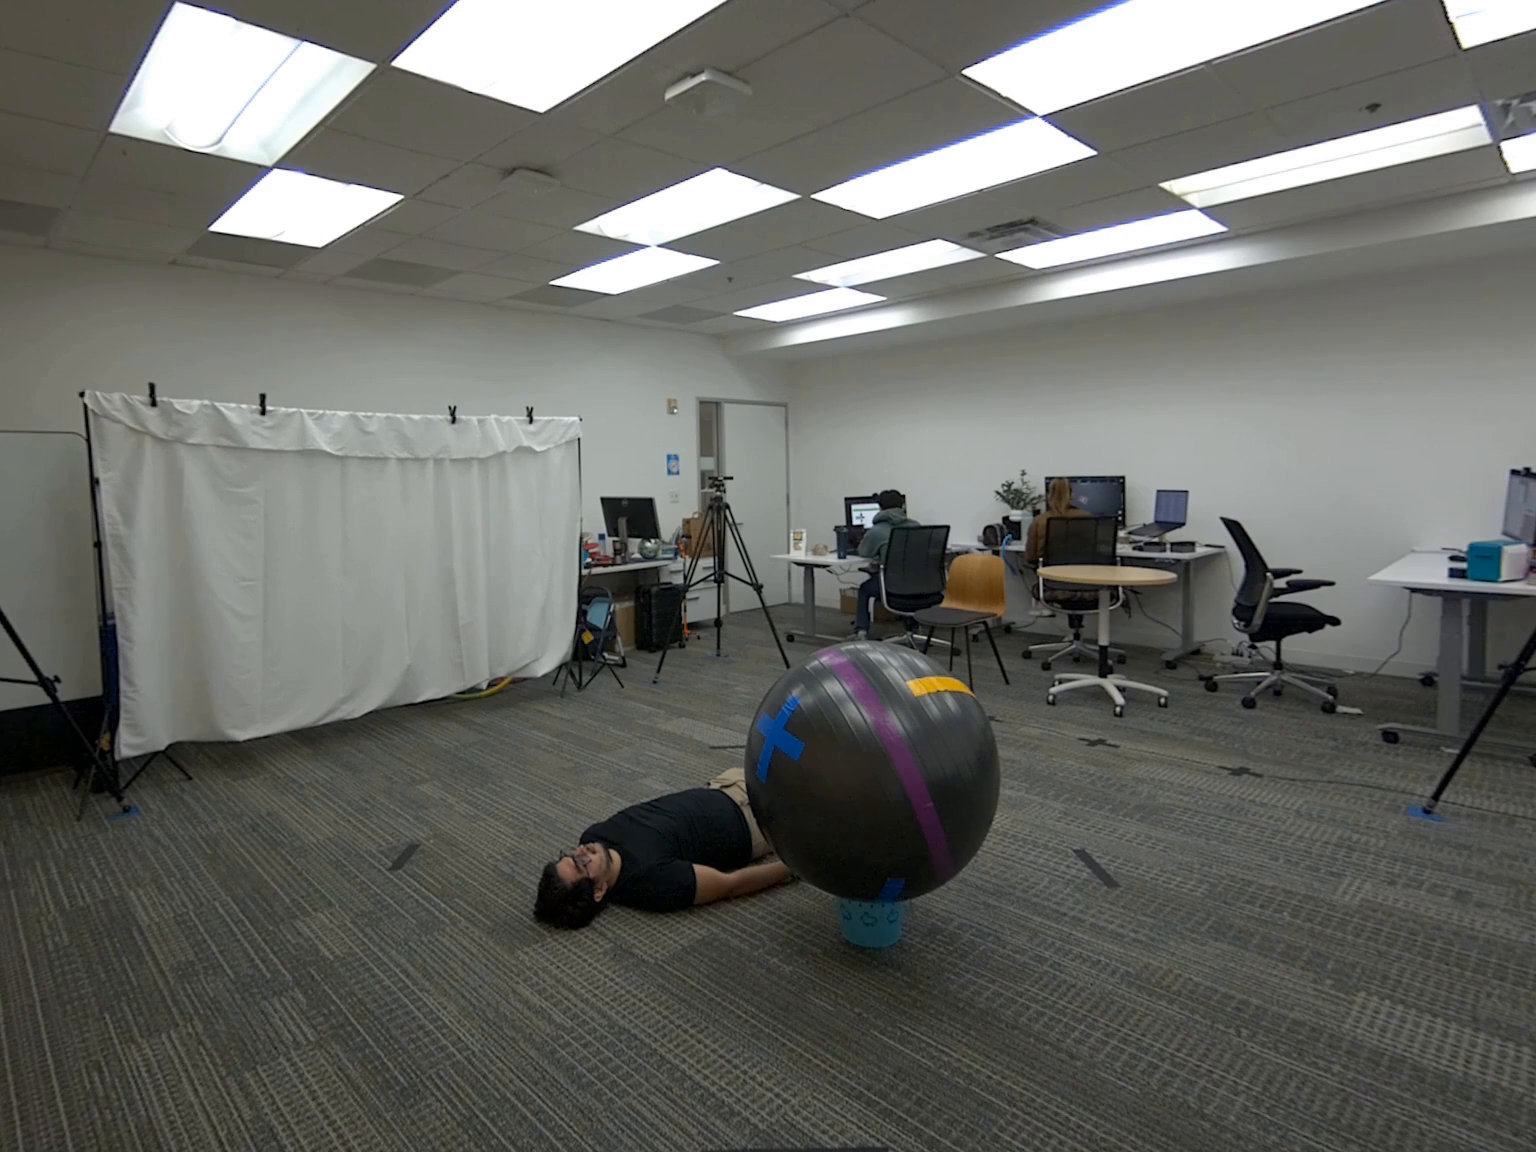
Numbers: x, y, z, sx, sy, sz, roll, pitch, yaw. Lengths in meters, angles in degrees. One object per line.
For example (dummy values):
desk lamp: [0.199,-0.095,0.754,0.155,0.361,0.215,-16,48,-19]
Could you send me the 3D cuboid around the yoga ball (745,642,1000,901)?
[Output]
yoga ball: [0.308,0.579,2.584,0.757,0.755,0.761,-1,4,-2]
